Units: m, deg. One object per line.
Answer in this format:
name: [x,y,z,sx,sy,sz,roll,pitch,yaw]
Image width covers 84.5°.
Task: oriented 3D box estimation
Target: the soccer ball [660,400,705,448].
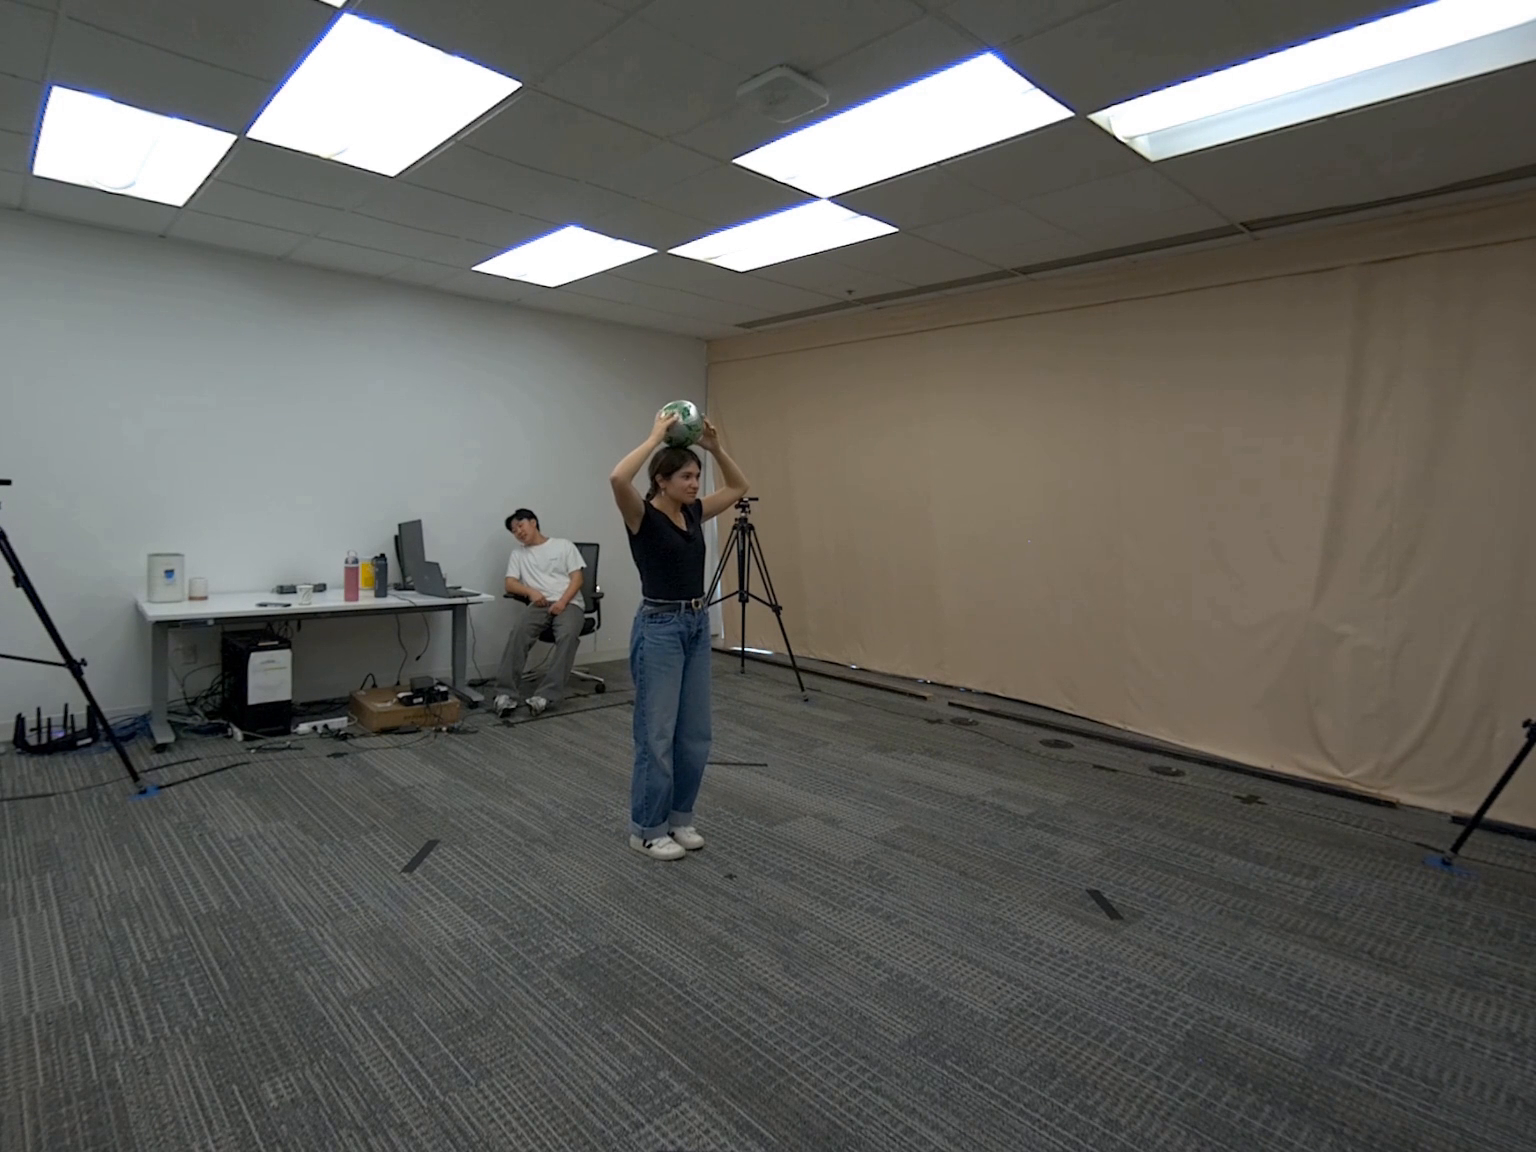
soccer ball: [-0.352,-0.591,3.296,0.187,0.187,0.188,1,4,-1]
